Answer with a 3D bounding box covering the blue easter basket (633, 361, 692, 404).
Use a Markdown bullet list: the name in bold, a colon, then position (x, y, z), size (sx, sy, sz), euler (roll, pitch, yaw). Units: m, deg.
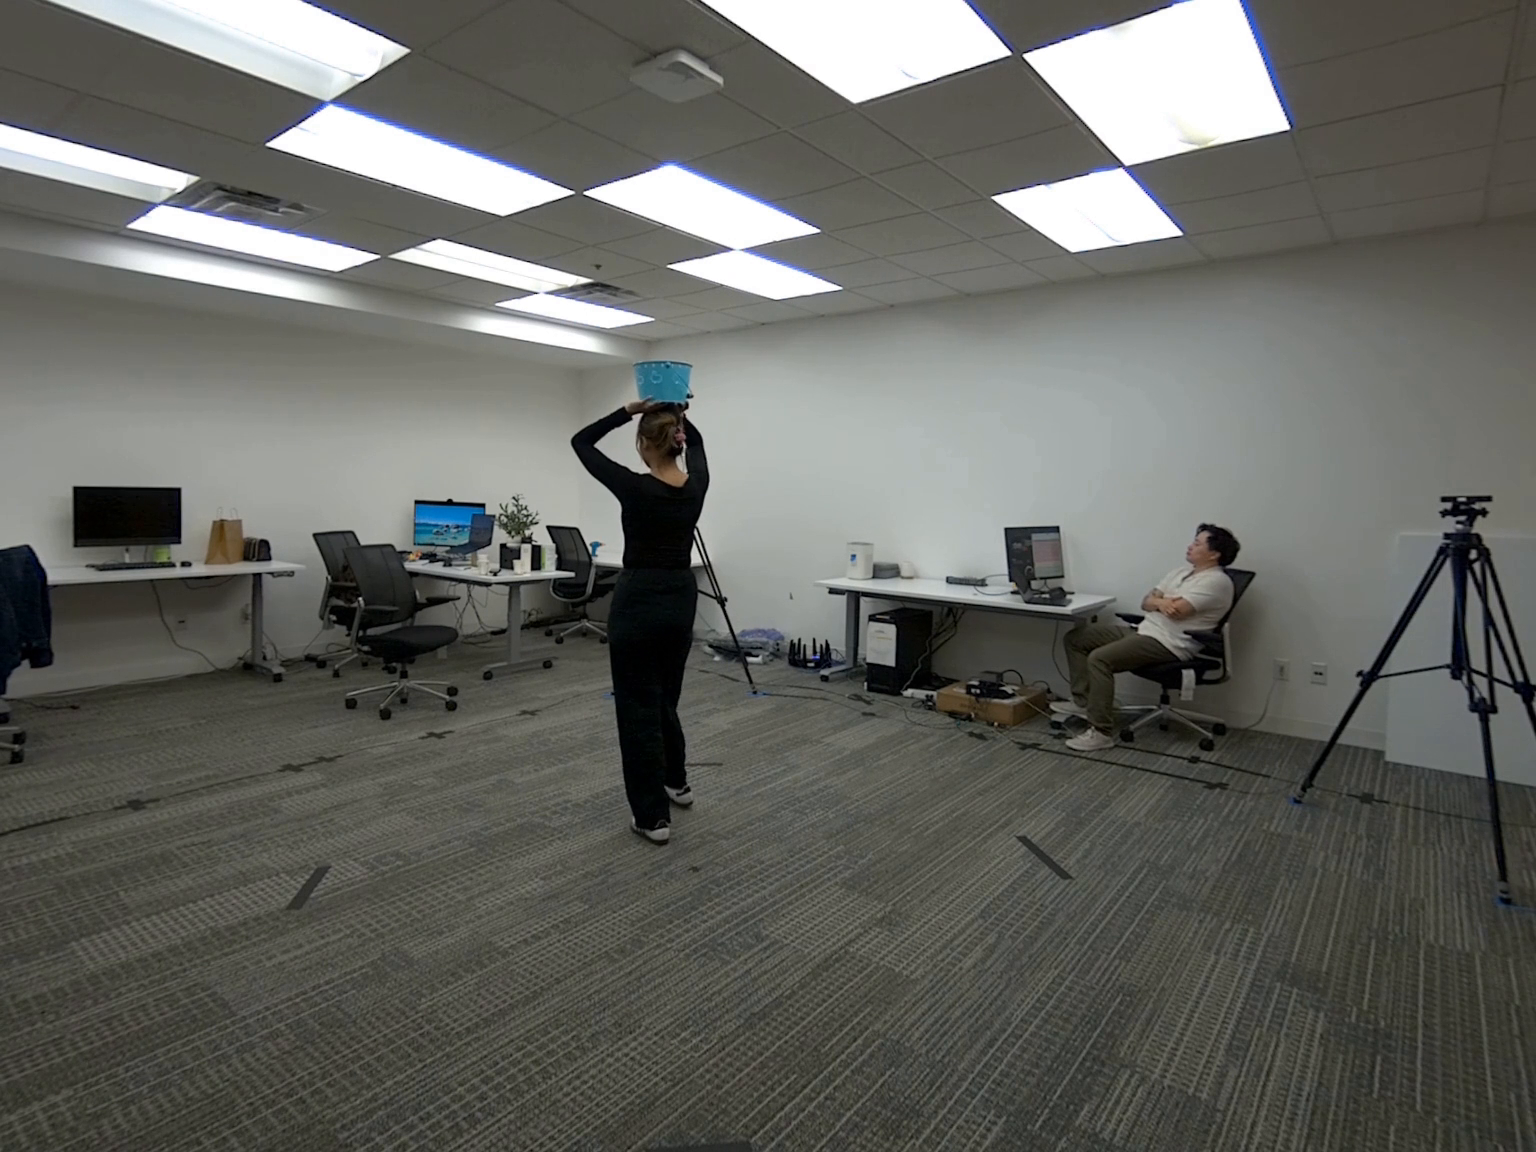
- **blue easter basket**: position (-0.417, -0.746, 3.312), size (0.243, 0.155, 0.245), euler (1, 5, -2)
